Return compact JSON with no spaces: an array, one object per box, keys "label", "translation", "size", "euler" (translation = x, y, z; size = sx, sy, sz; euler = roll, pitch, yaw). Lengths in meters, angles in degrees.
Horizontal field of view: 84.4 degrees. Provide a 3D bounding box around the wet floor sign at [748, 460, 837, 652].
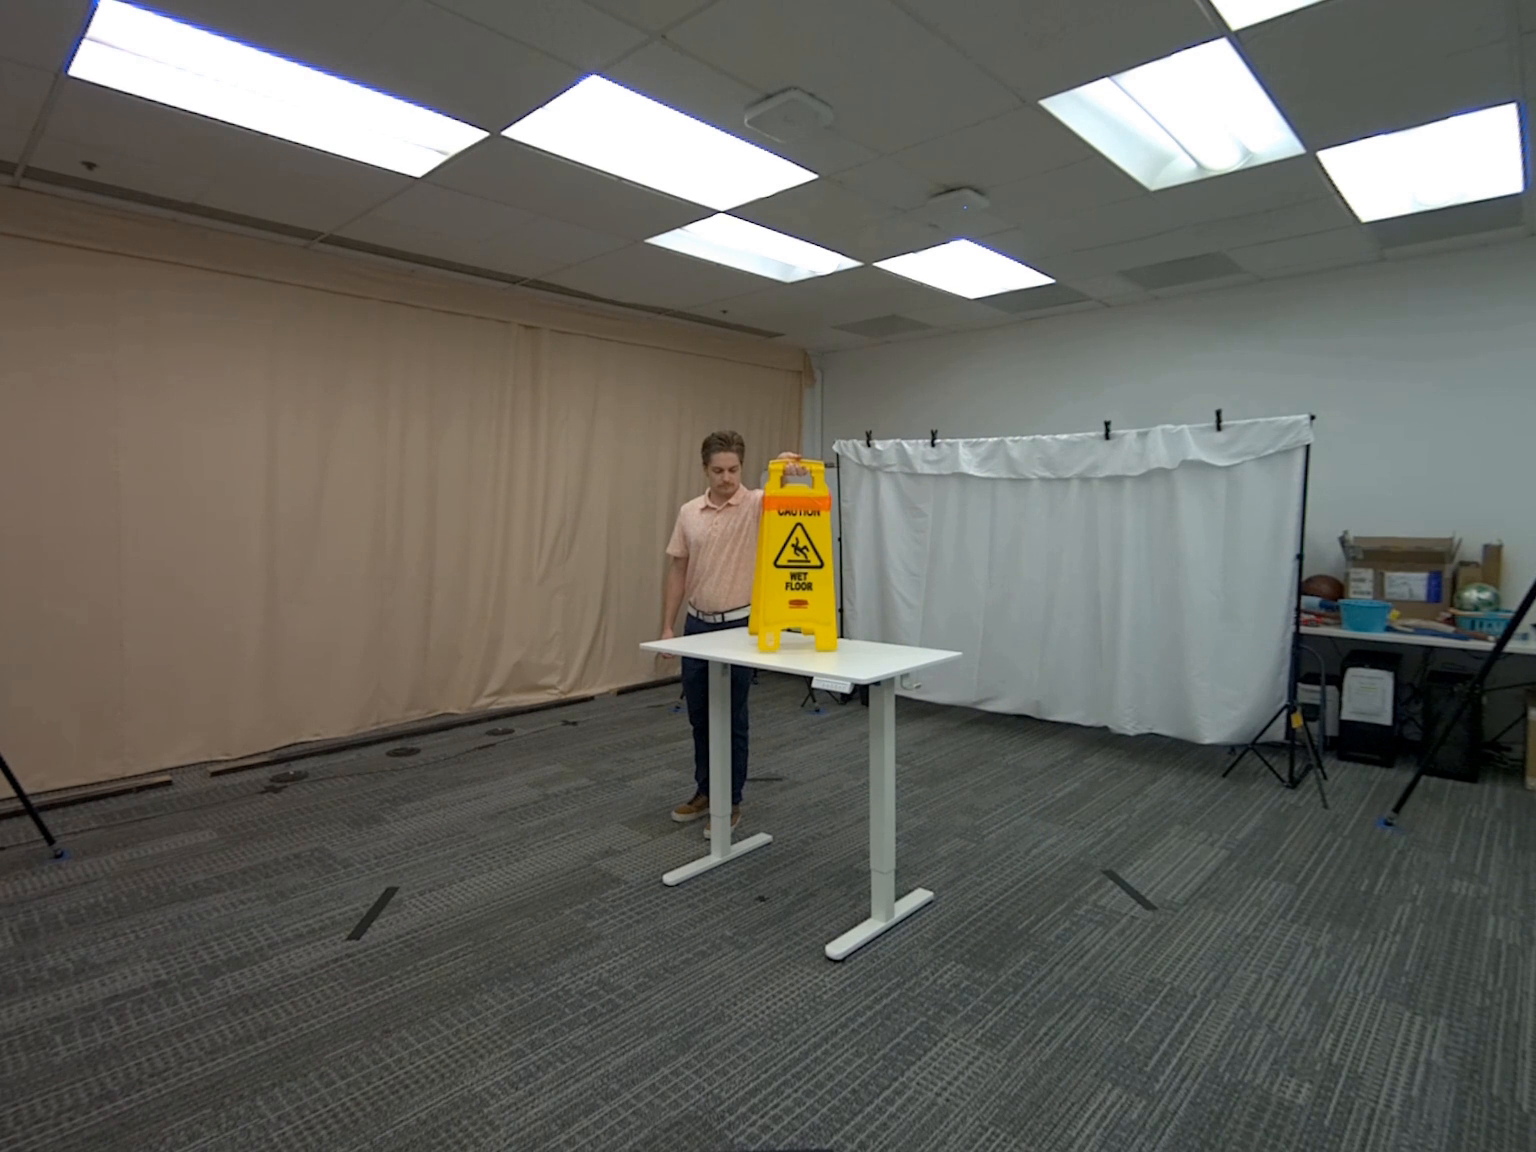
[{"label":"wet floor sign","translation":[0.100,-0.076,2.989],"size":[0.281,0.643,0.293],"euler":[0,7,-6]}]
